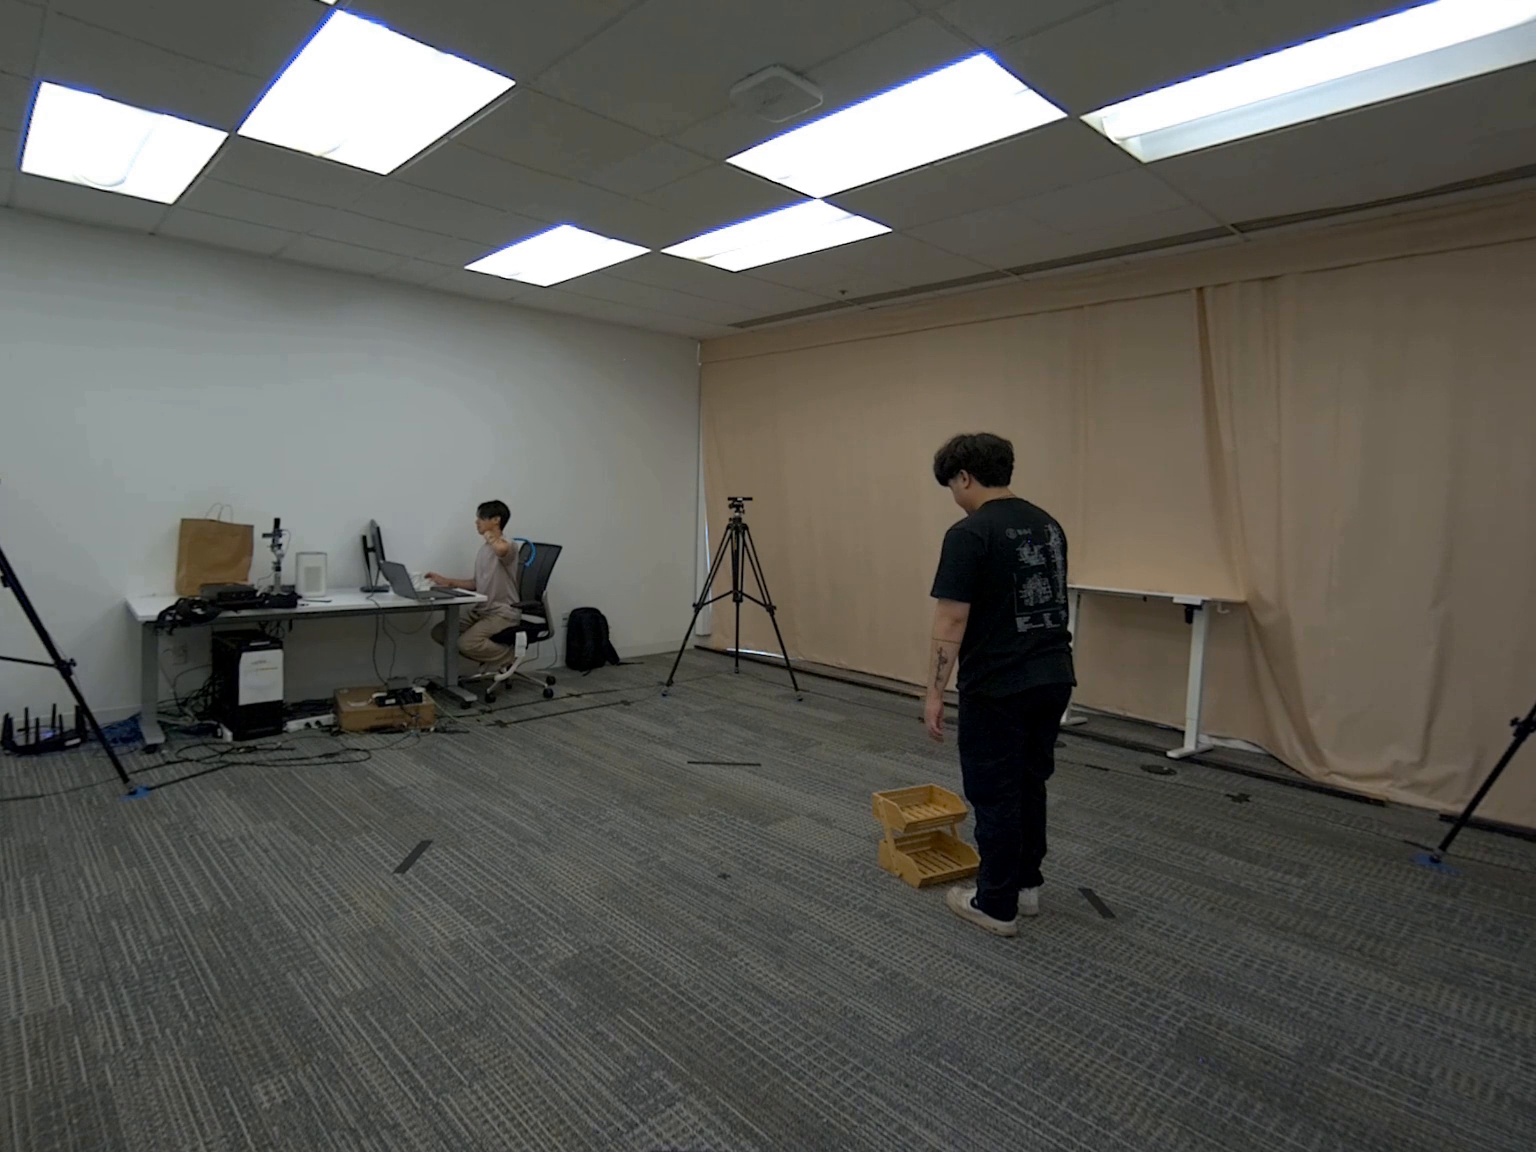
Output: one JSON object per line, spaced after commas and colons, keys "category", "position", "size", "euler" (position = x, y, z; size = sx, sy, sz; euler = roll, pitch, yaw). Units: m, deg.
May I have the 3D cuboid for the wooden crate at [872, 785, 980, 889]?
{"category": "wooden crate", "position": [0.605, 0.987, 3.219], "size": [0.318, 0.273, 0.309], "euler": [-1, 4, -30]}
